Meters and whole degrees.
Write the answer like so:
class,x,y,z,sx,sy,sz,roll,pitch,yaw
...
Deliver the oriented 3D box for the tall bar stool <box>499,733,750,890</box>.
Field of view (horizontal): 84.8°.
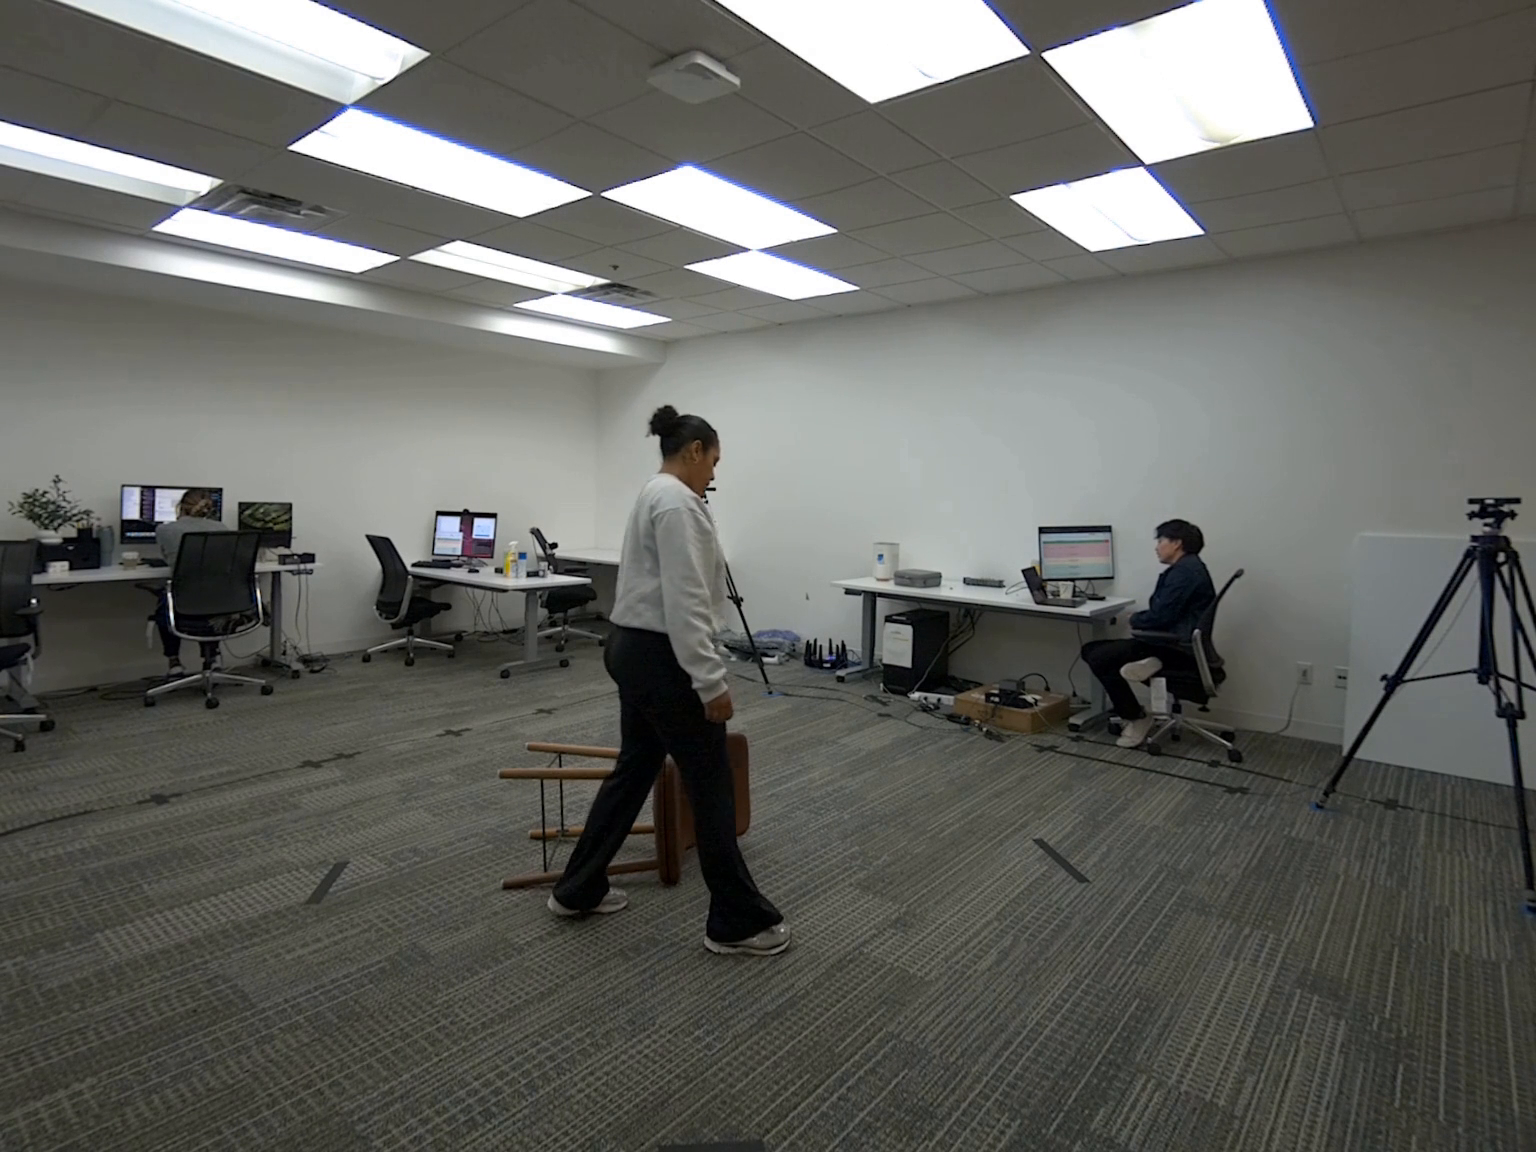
class,x,y,z,sx,sy,sz,roll,pitch,yaw
tall bar stool,-0.510,0.845,3.140,0.887,0.456,0.469,-1,2,-3
